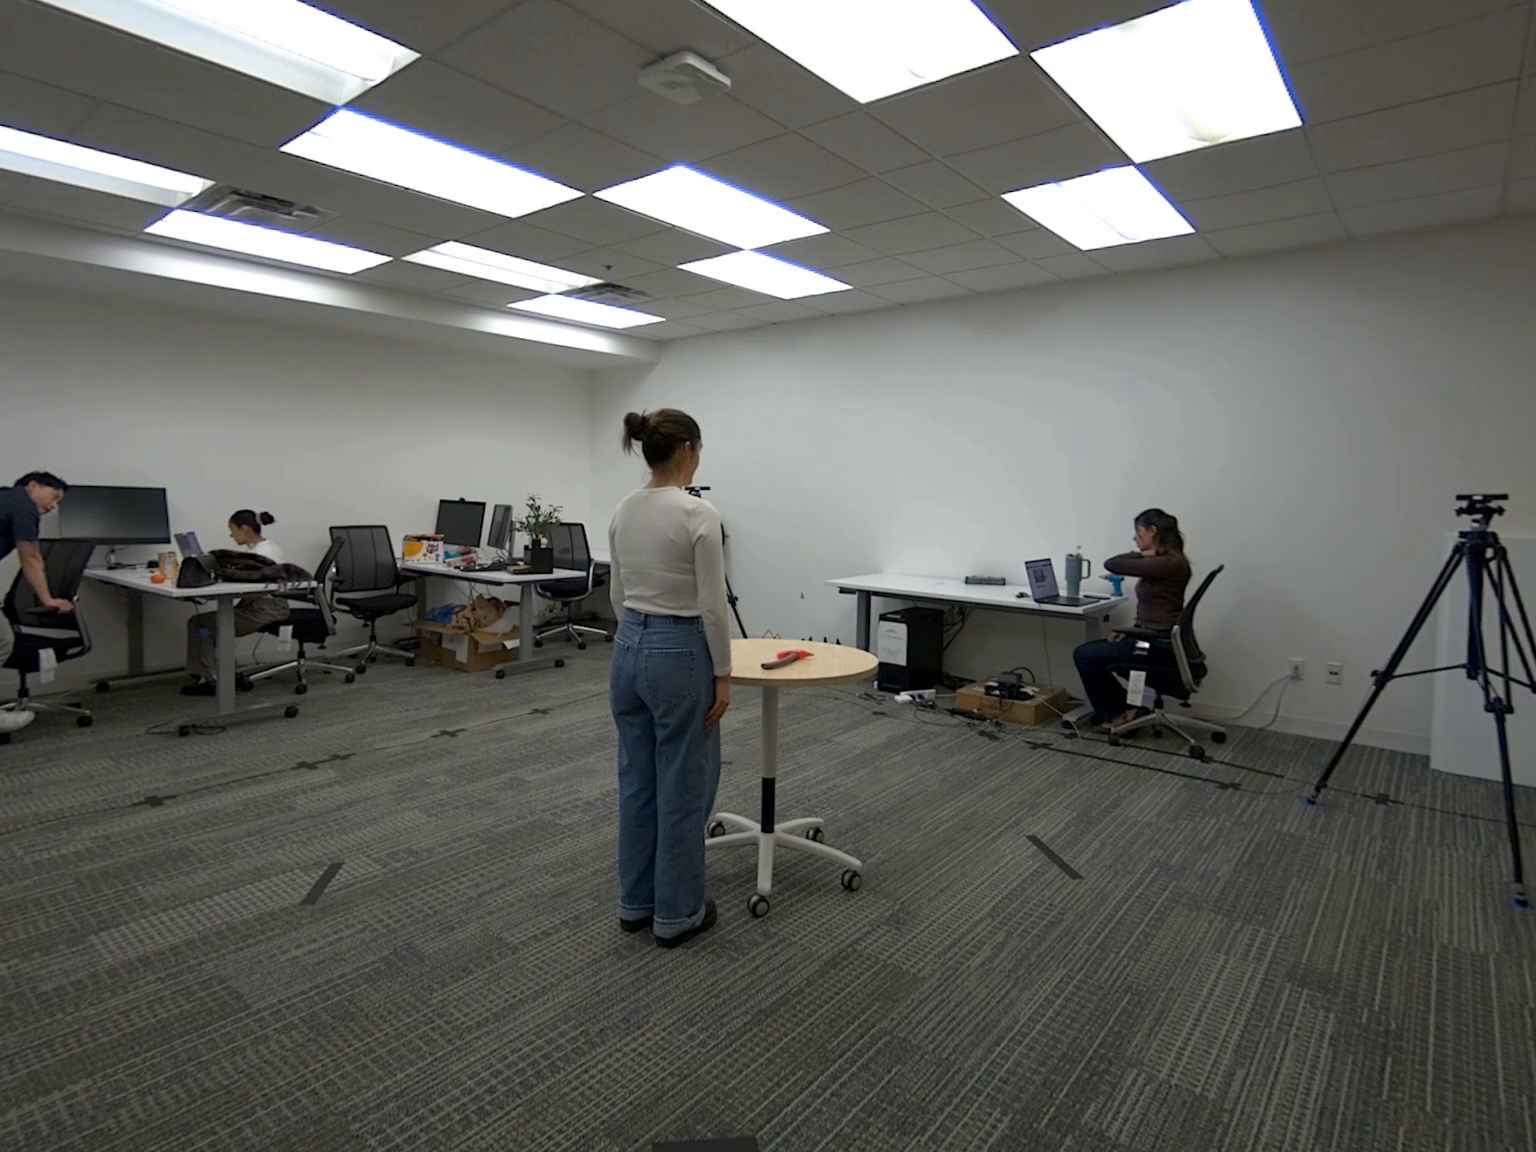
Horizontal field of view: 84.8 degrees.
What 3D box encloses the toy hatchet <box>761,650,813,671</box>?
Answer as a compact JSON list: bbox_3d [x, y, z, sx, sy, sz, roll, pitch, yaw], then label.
[{"bbox_3d":[0.032,0.286,2.968,0.135,0.029,0.262,2,6,38],"label":"toy hatchet"}]
